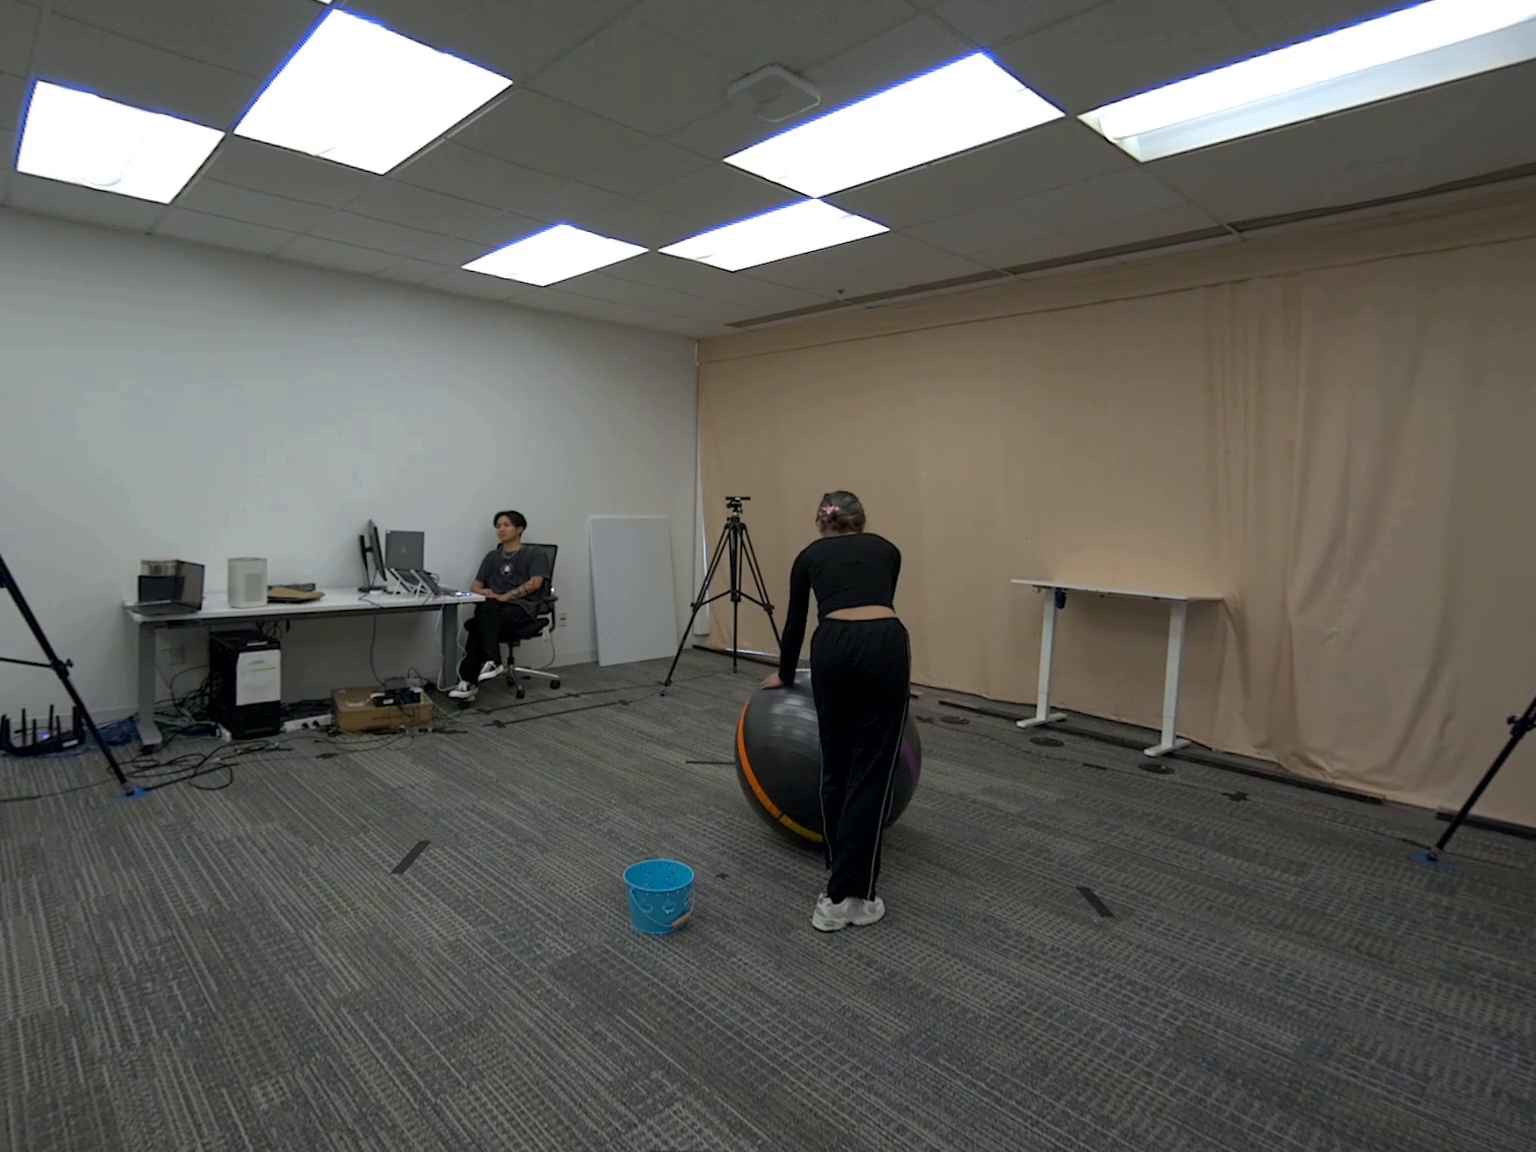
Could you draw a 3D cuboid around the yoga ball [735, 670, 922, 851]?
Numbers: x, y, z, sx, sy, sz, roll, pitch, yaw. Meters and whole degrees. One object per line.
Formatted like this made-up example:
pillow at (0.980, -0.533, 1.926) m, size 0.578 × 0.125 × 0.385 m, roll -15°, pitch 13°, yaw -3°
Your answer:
yoga ball at (0.235, 0.719, 3.454) m, size 0.757 × 0.756 × 0.761 m, roll 1°, pitch 4°, yaw -1°
